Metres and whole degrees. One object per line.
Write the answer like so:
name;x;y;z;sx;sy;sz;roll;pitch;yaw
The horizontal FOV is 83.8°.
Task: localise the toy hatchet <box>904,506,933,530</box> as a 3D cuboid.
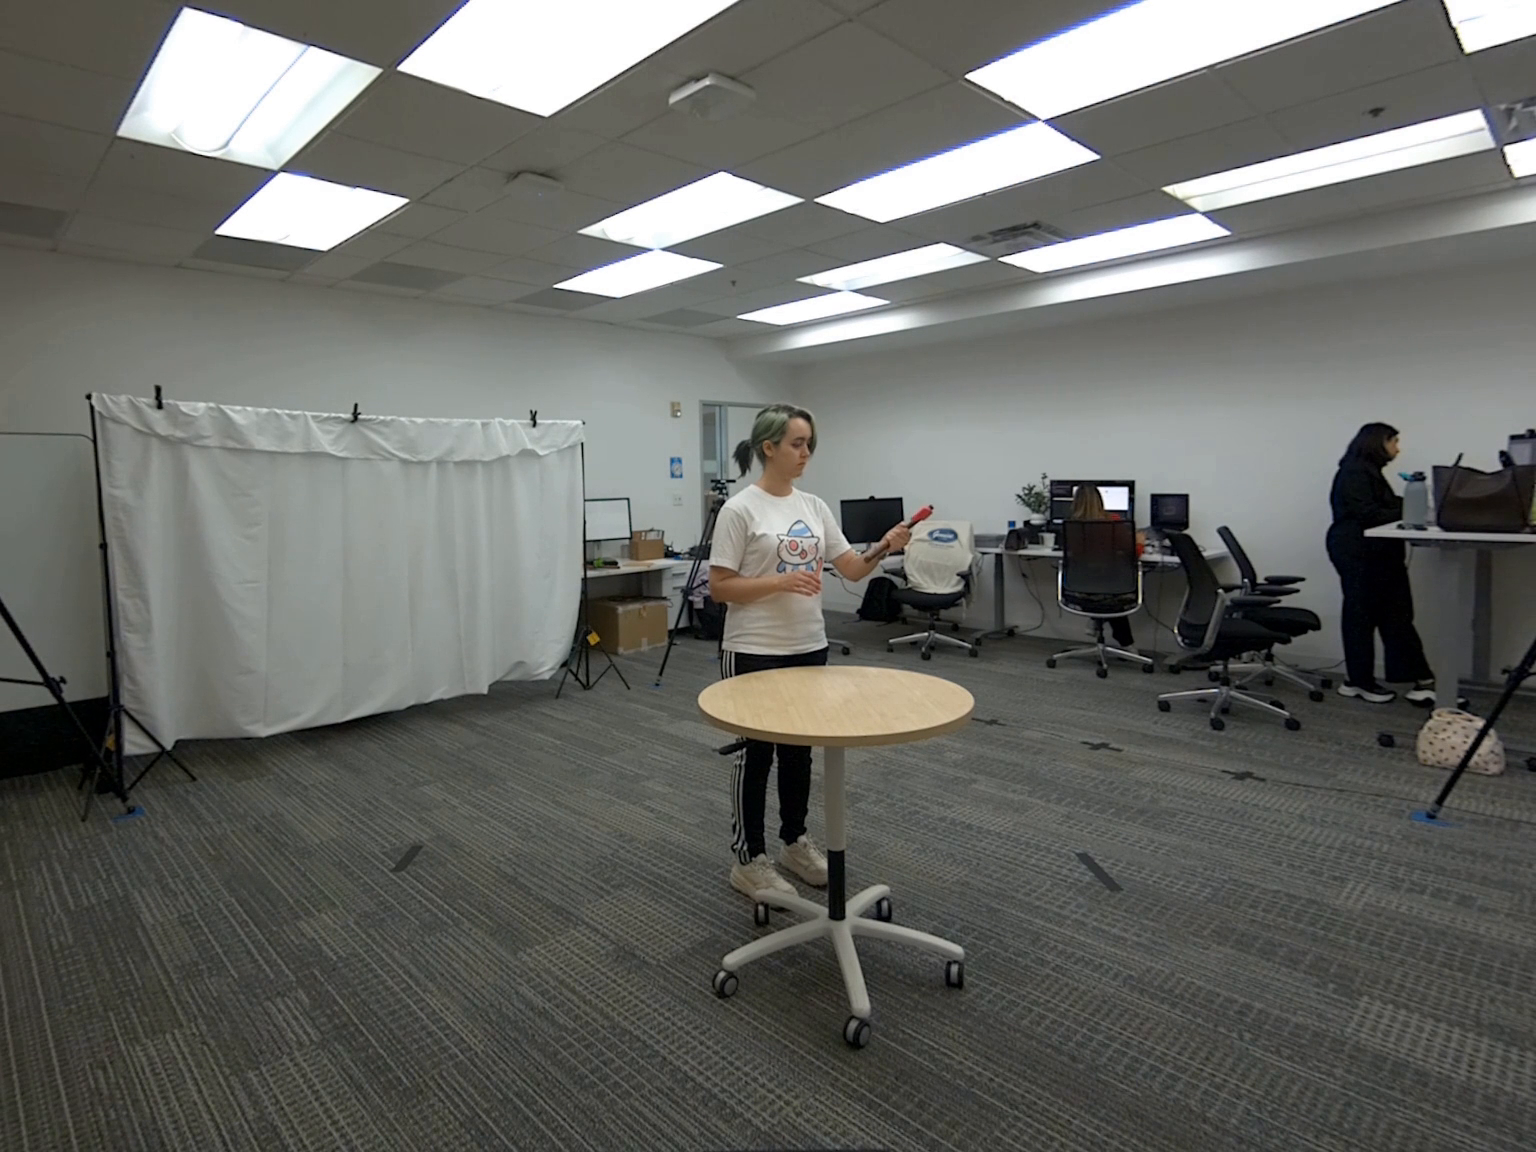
toy hatchet;0.411;-0.141;2.696;0.269;0.030;0.129;-36;-11;-10
